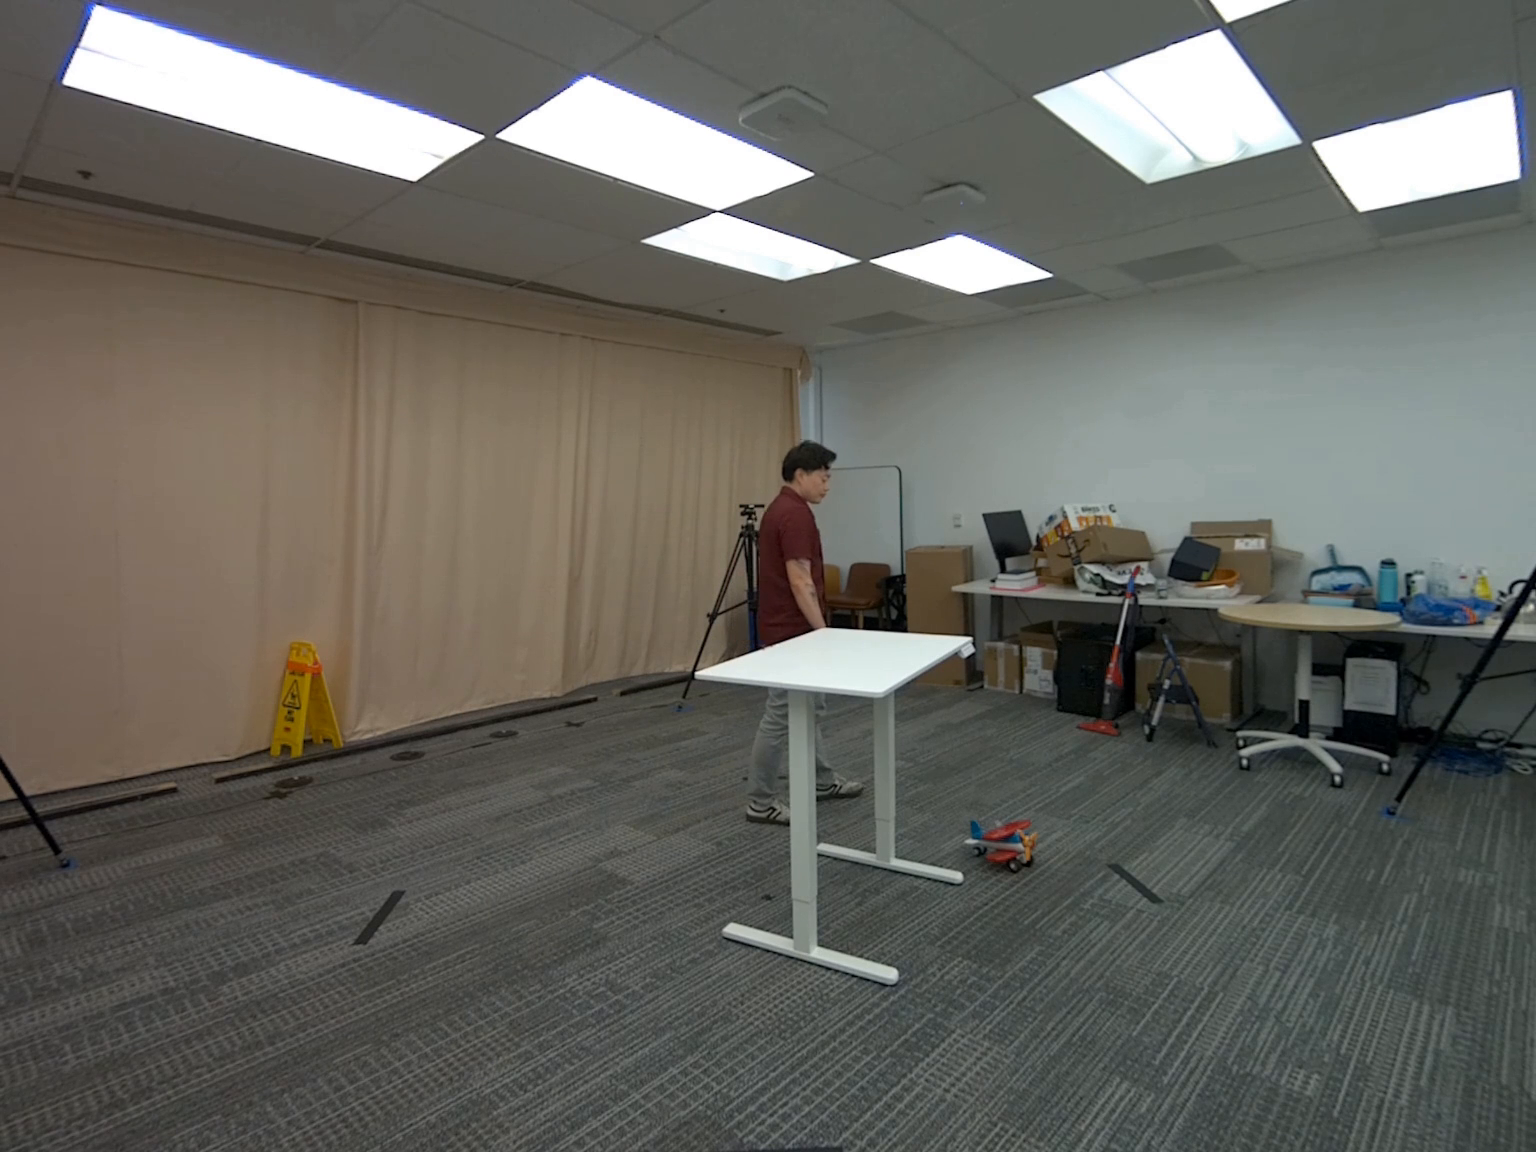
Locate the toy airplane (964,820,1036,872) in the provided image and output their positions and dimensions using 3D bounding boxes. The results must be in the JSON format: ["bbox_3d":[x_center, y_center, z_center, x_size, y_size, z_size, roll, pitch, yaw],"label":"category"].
[{"bbox_3d":[0.895,1.033,3.230,0.265,0.156,0.246,2,5,21],"label":"toy airplane"}]
